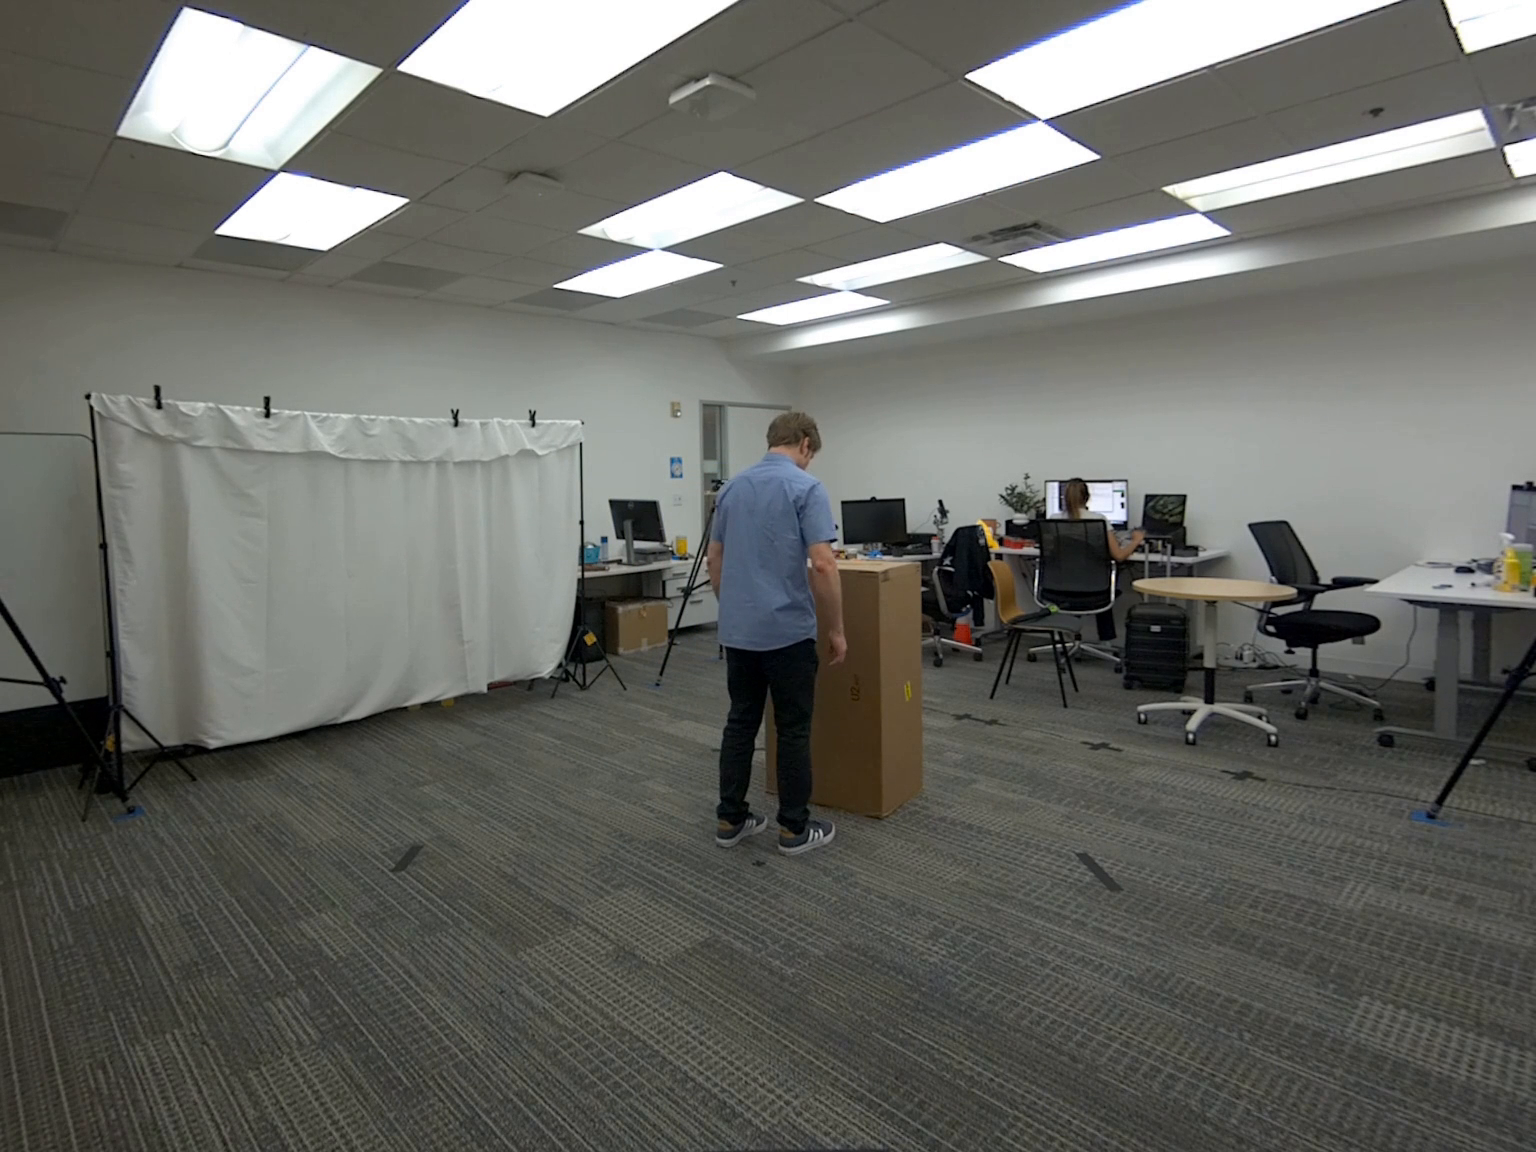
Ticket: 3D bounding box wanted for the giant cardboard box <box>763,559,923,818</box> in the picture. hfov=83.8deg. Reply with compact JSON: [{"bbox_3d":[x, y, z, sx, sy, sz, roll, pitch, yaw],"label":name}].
[{"bbox_3d":[0.337,0.454,3.806,0.594,1.023,0.415,2,4,36],"label":"giant cardboard box"}]
